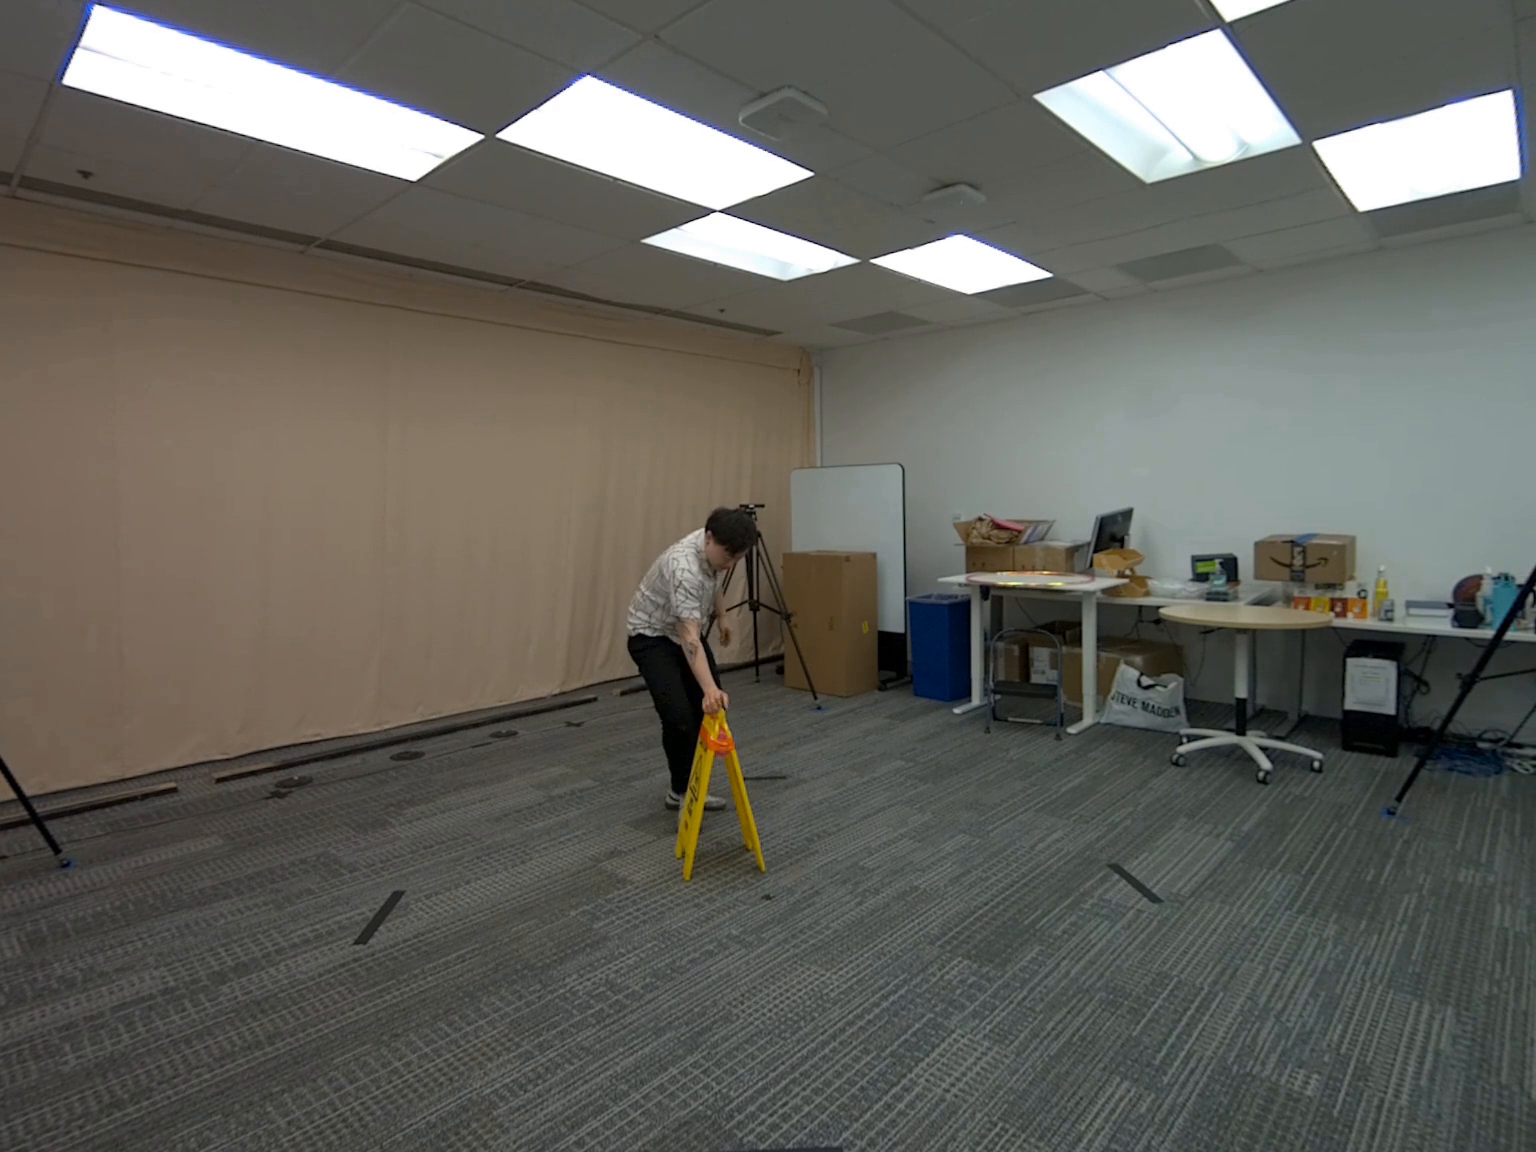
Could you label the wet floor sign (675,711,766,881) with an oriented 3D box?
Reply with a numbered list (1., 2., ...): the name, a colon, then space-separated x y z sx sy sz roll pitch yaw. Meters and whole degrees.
1. wet floor sign: -0.197 0.794 3.265 0.286 0.645 0.287 -2 3 -14
